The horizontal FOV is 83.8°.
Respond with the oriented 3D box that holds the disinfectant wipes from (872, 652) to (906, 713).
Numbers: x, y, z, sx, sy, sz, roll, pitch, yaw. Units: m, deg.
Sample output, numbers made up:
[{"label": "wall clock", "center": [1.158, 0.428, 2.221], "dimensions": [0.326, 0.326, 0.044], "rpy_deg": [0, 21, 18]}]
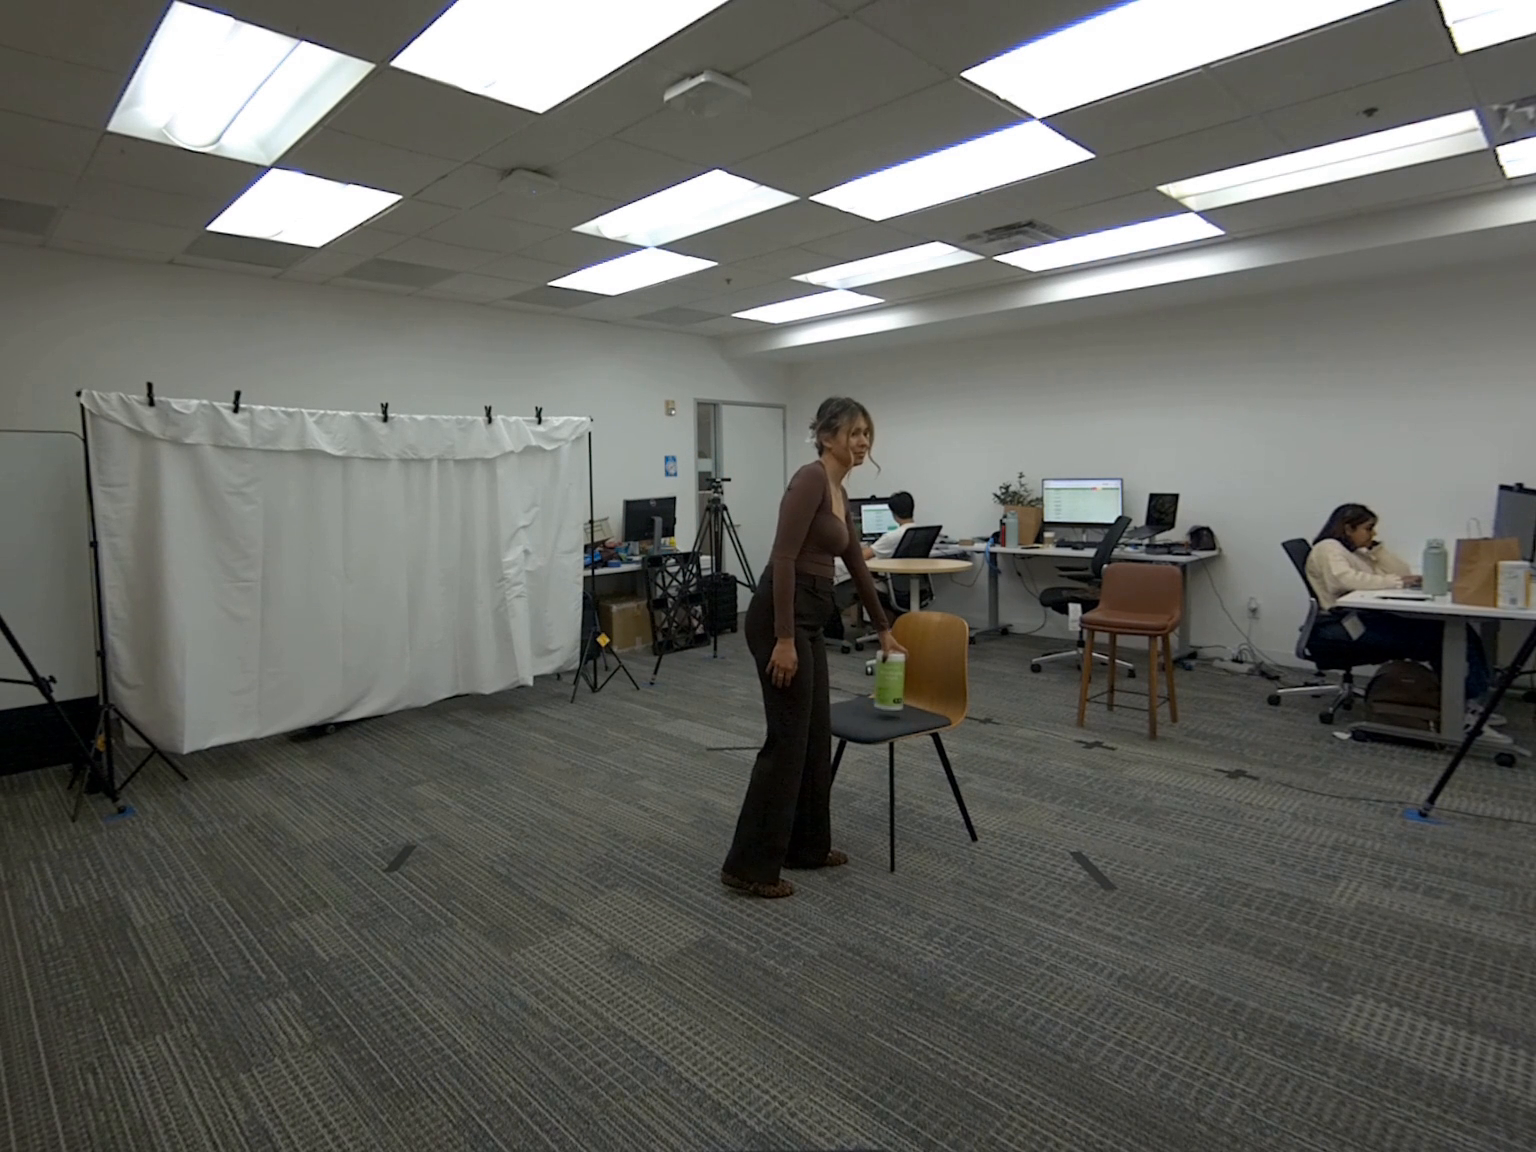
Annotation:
[{"label": "disinfectant wipes", "center": [0.467, 0.401, 3.277], "dimensions": [0.118, 0.217, 0.118], "rpy_deg": [3, 1, -2]}]
